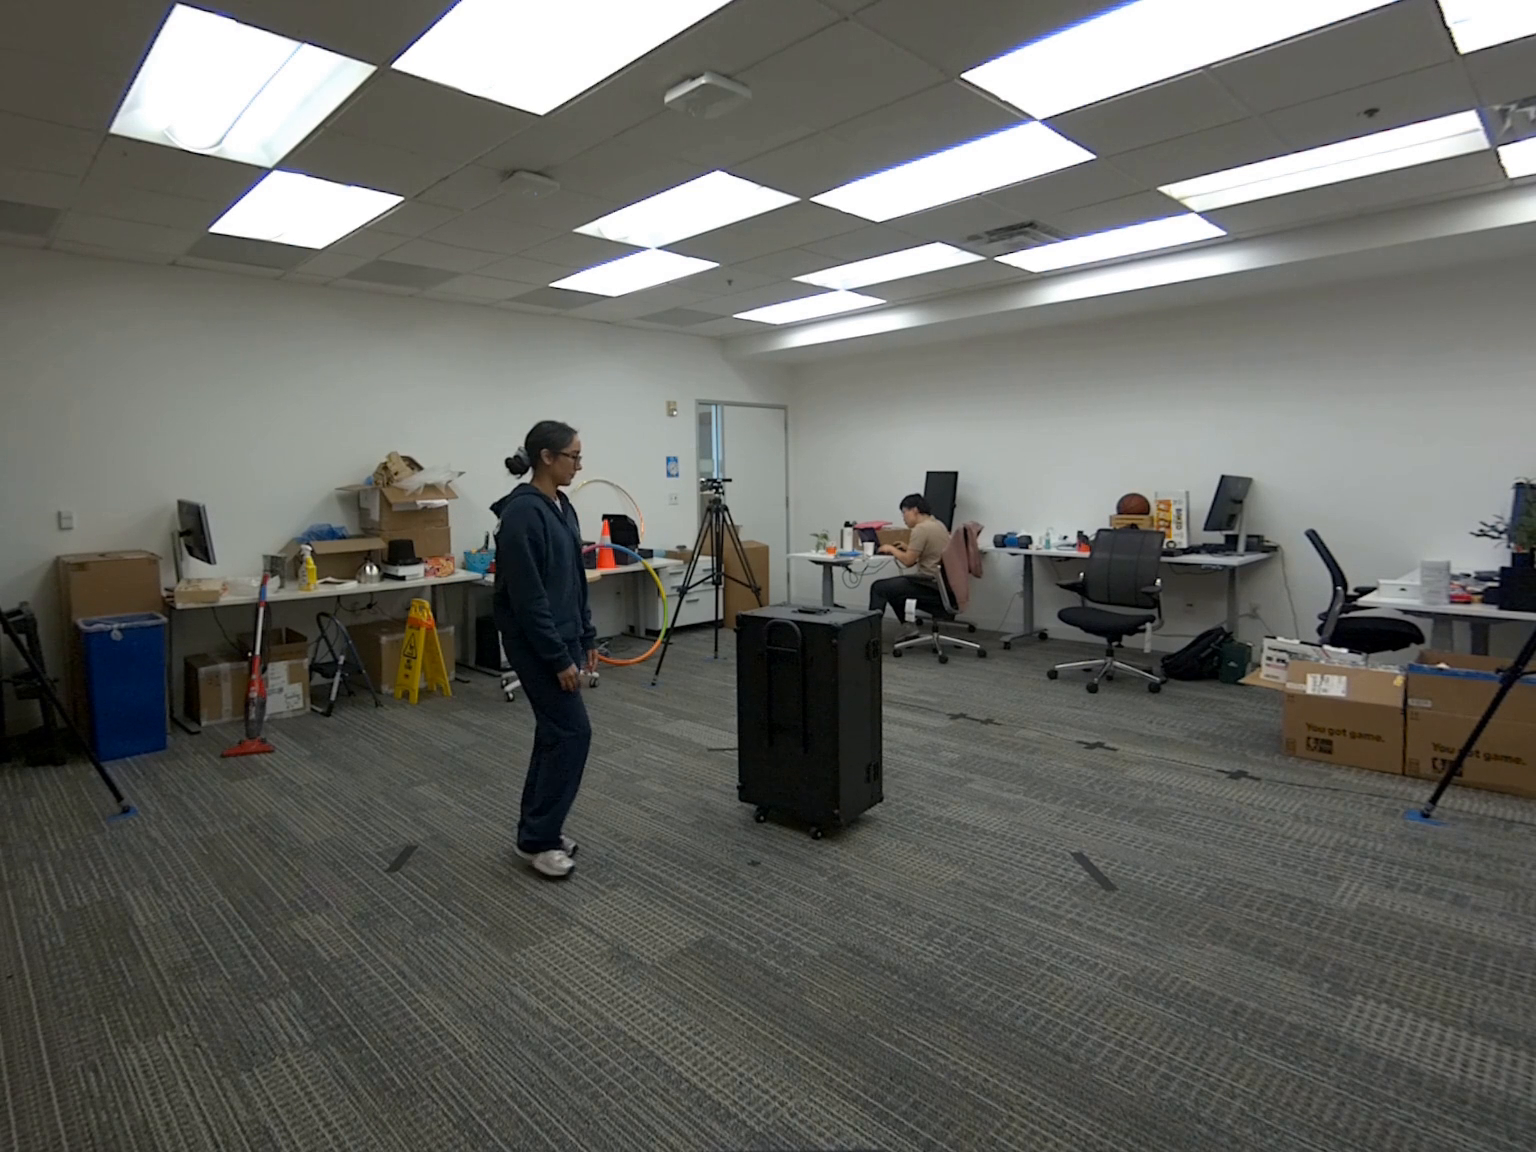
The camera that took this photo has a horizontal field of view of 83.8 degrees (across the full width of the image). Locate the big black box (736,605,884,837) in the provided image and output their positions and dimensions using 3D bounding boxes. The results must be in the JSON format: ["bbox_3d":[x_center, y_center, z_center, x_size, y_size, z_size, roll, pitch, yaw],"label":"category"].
[{"bbox_3d":[0.159,0.578,3.491,0.408,0.858,0.508,2,5,37],"label":"big black box"}]
